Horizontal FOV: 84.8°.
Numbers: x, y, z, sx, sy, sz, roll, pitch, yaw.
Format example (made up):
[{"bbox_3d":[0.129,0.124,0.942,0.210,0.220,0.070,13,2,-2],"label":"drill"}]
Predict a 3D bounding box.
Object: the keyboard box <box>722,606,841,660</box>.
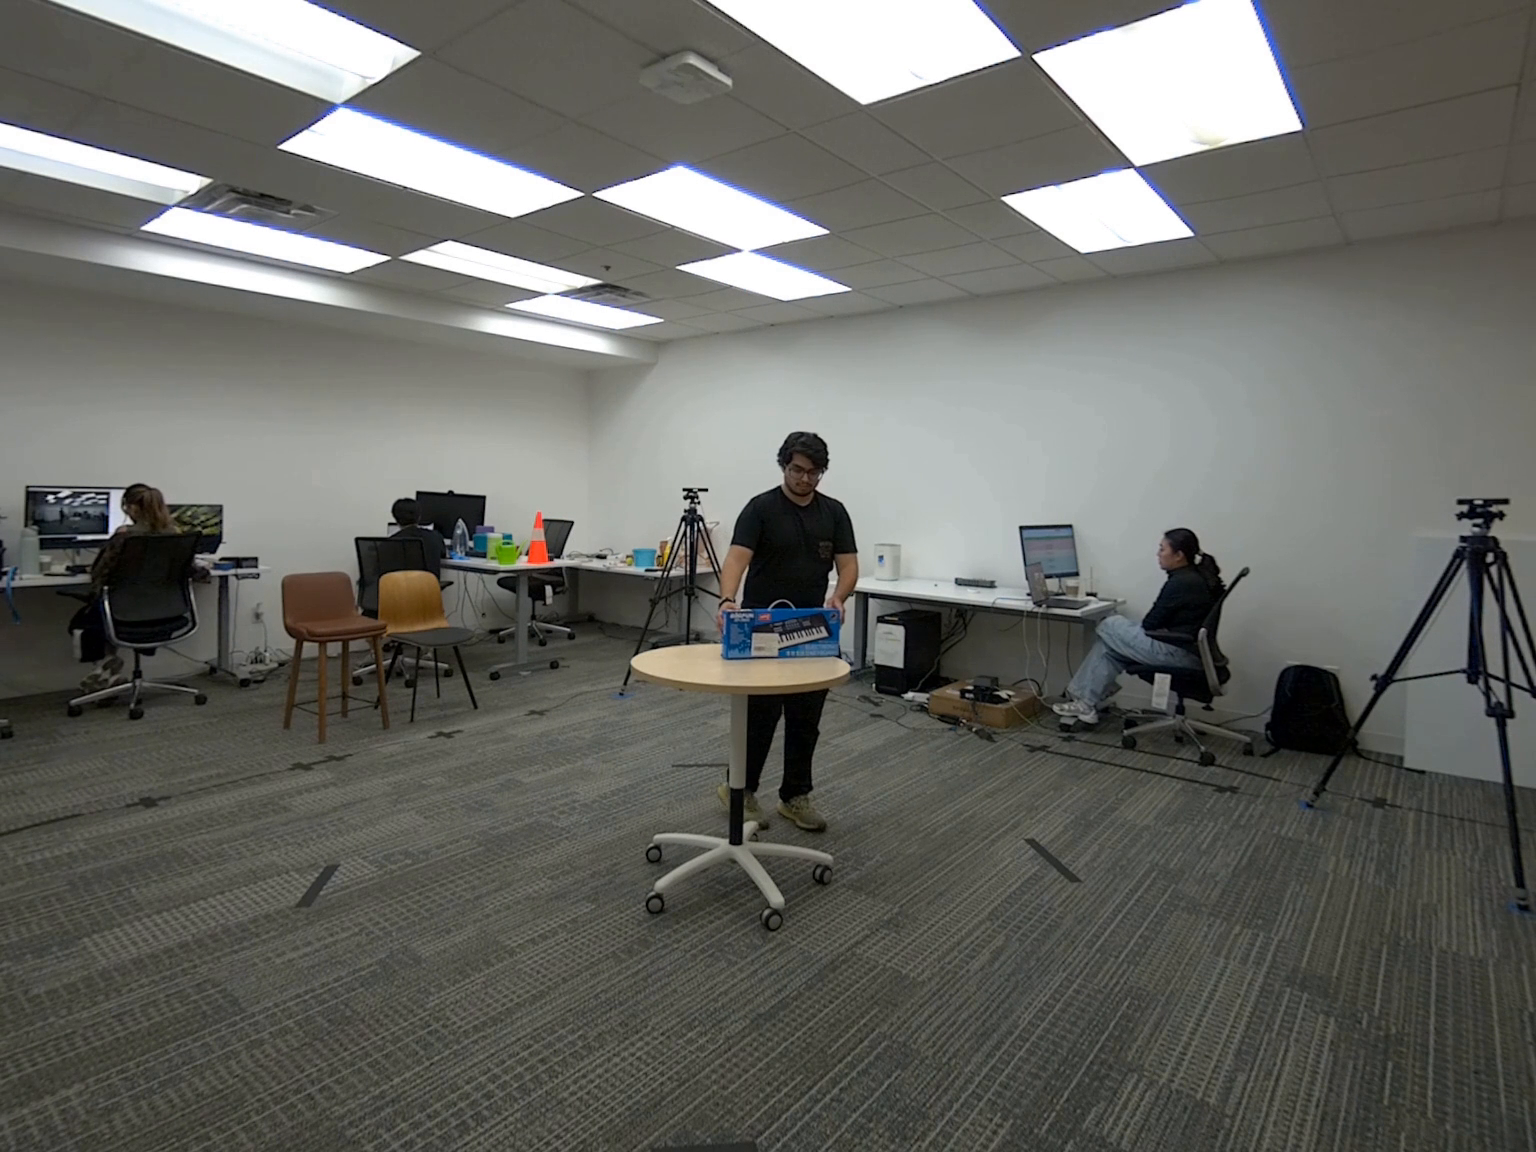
[{"bbox_3d":[0.038,0.204,3.110,0.429,0.176,0.060,-1,0,-18],"label":"keyboard box"}]
